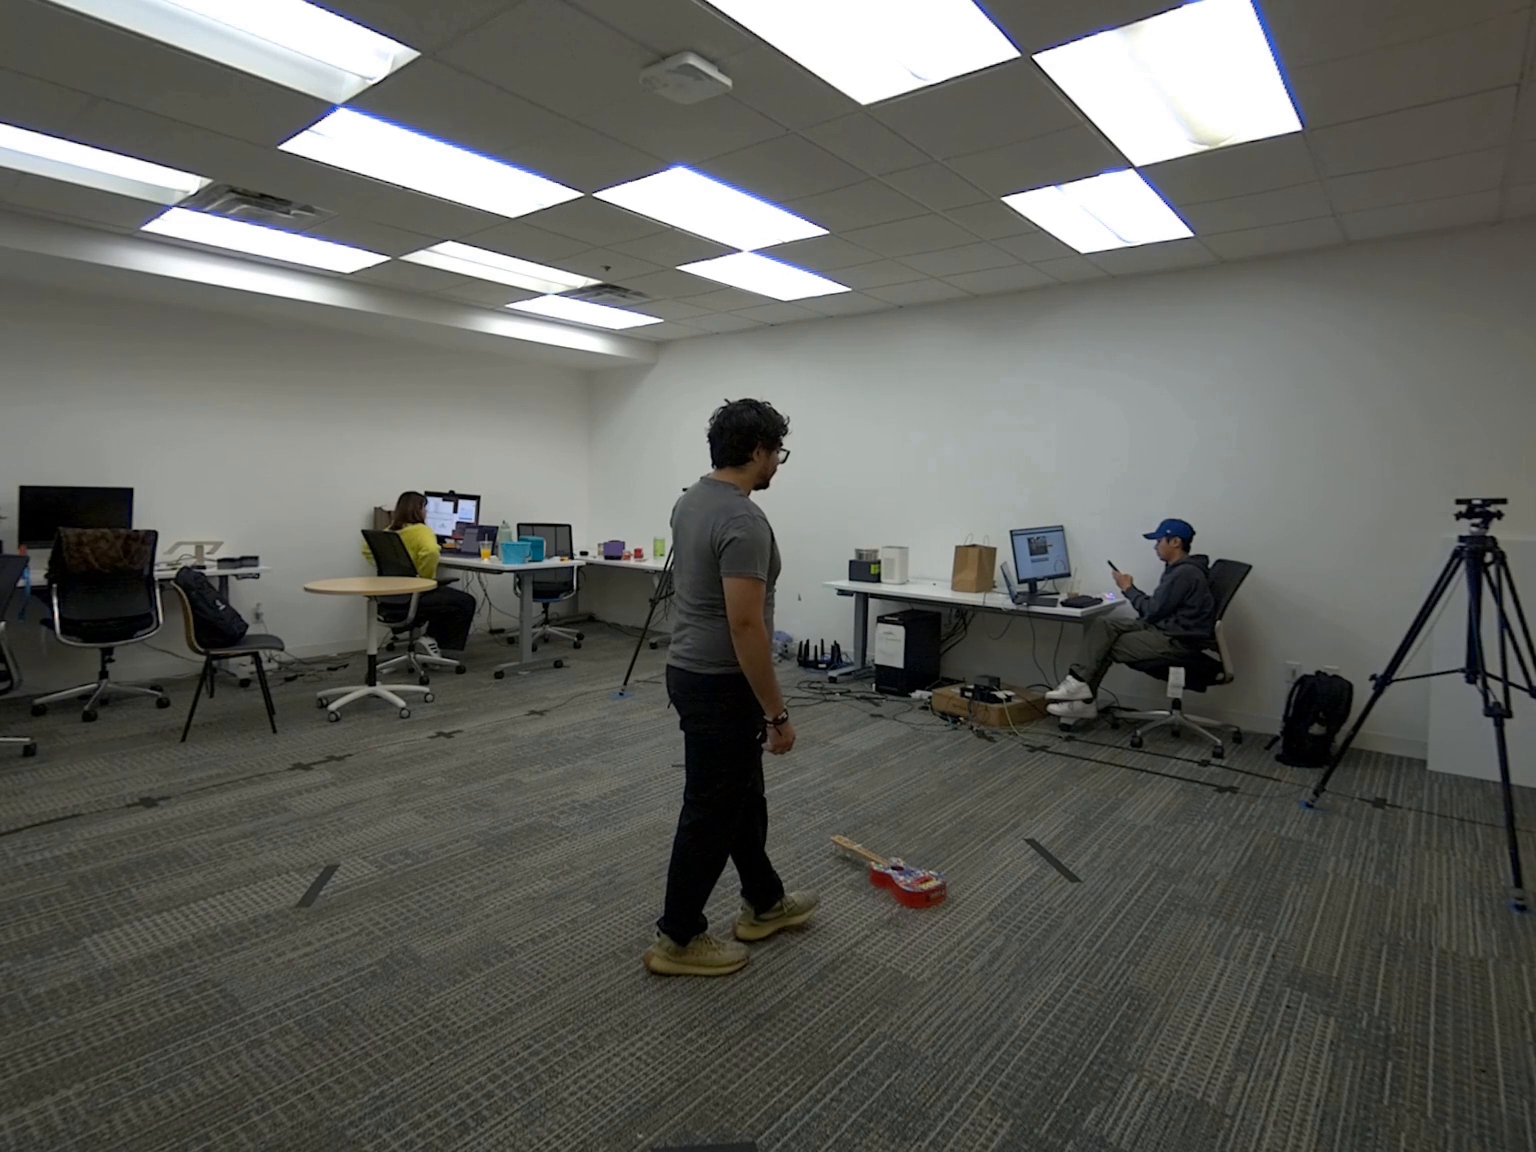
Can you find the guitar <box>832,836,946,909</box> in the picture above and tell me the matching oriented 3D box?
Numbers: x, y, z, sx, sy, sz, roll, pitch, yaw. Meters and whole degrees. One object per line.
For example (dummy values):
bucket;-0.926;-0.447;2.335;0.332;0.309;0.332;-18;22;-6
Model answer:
guitar;0.428;1.051;3.095;0.188;0.070;0.513;-2;7;-29
